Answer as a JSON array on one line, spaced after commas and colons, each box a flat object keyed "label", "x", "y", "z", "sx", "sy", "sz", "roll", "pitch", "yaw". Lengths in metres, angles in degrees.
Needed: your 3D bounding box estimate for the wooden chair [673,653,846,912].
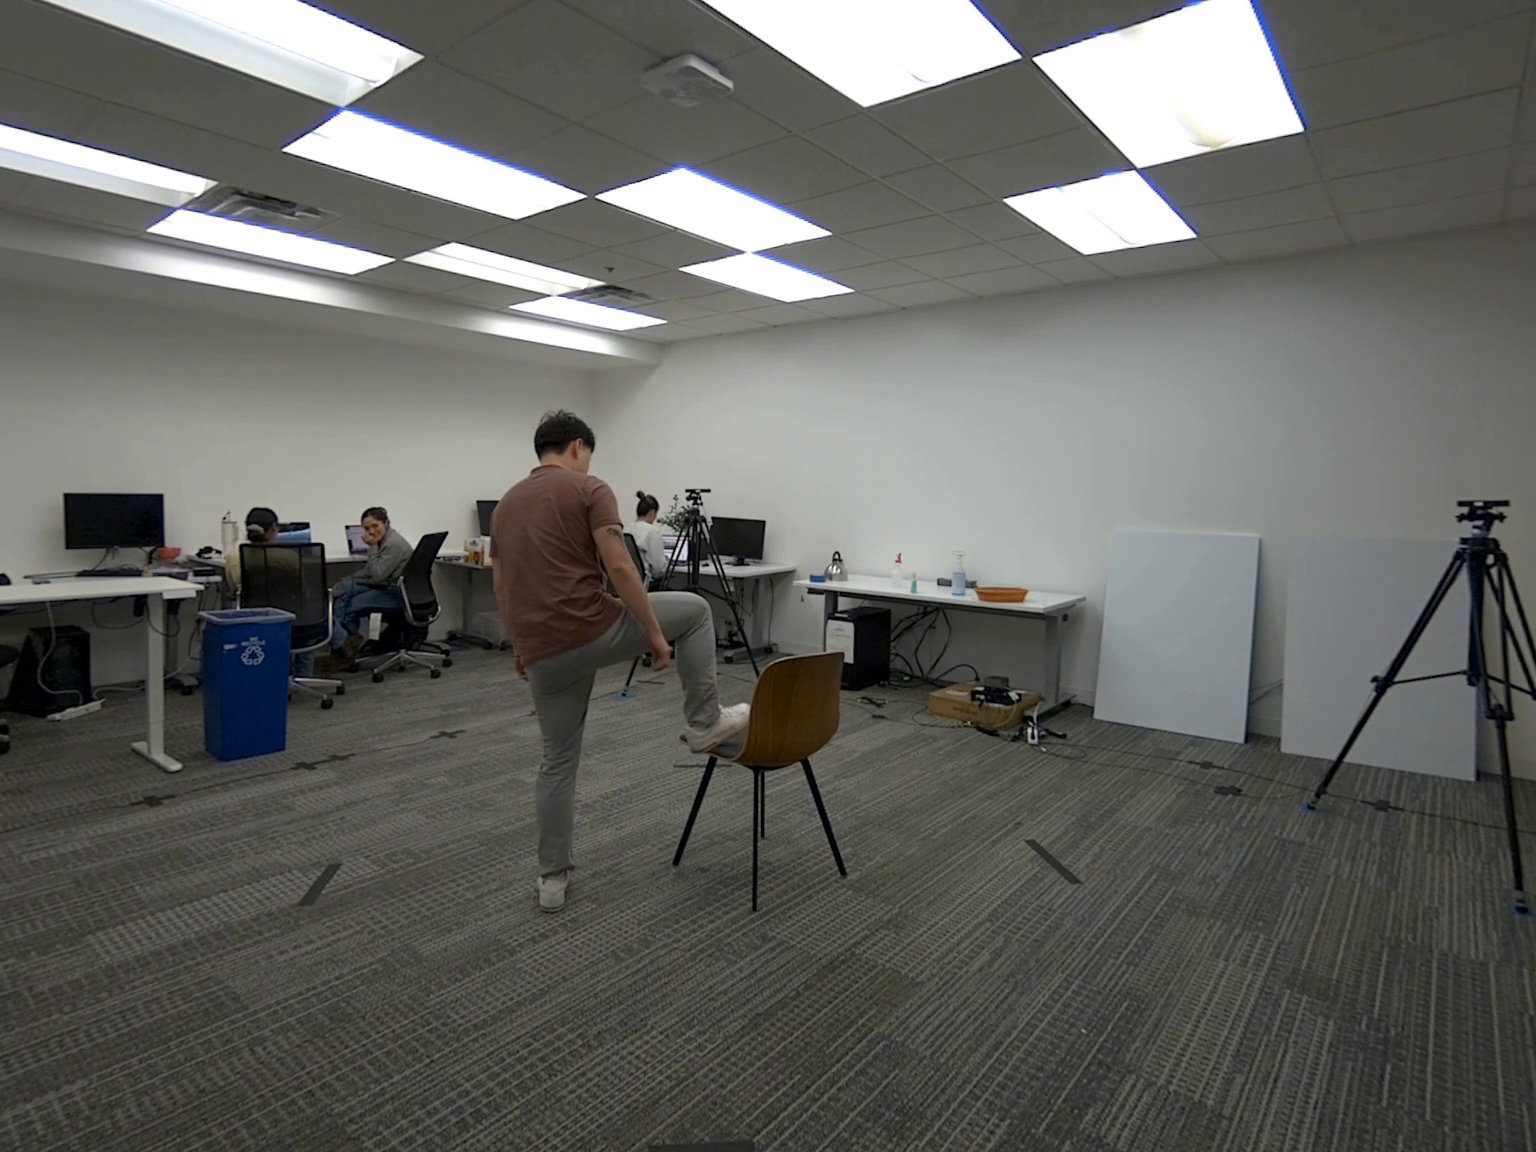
[{"label": "wooden chair", "x": -0.038, "y": 0.653, "z": 3.100, "sx": 0.463, "sy": 0.872, "sz": 0.542, "roll": -1, "pitch": 8, "yaw": -42}]
